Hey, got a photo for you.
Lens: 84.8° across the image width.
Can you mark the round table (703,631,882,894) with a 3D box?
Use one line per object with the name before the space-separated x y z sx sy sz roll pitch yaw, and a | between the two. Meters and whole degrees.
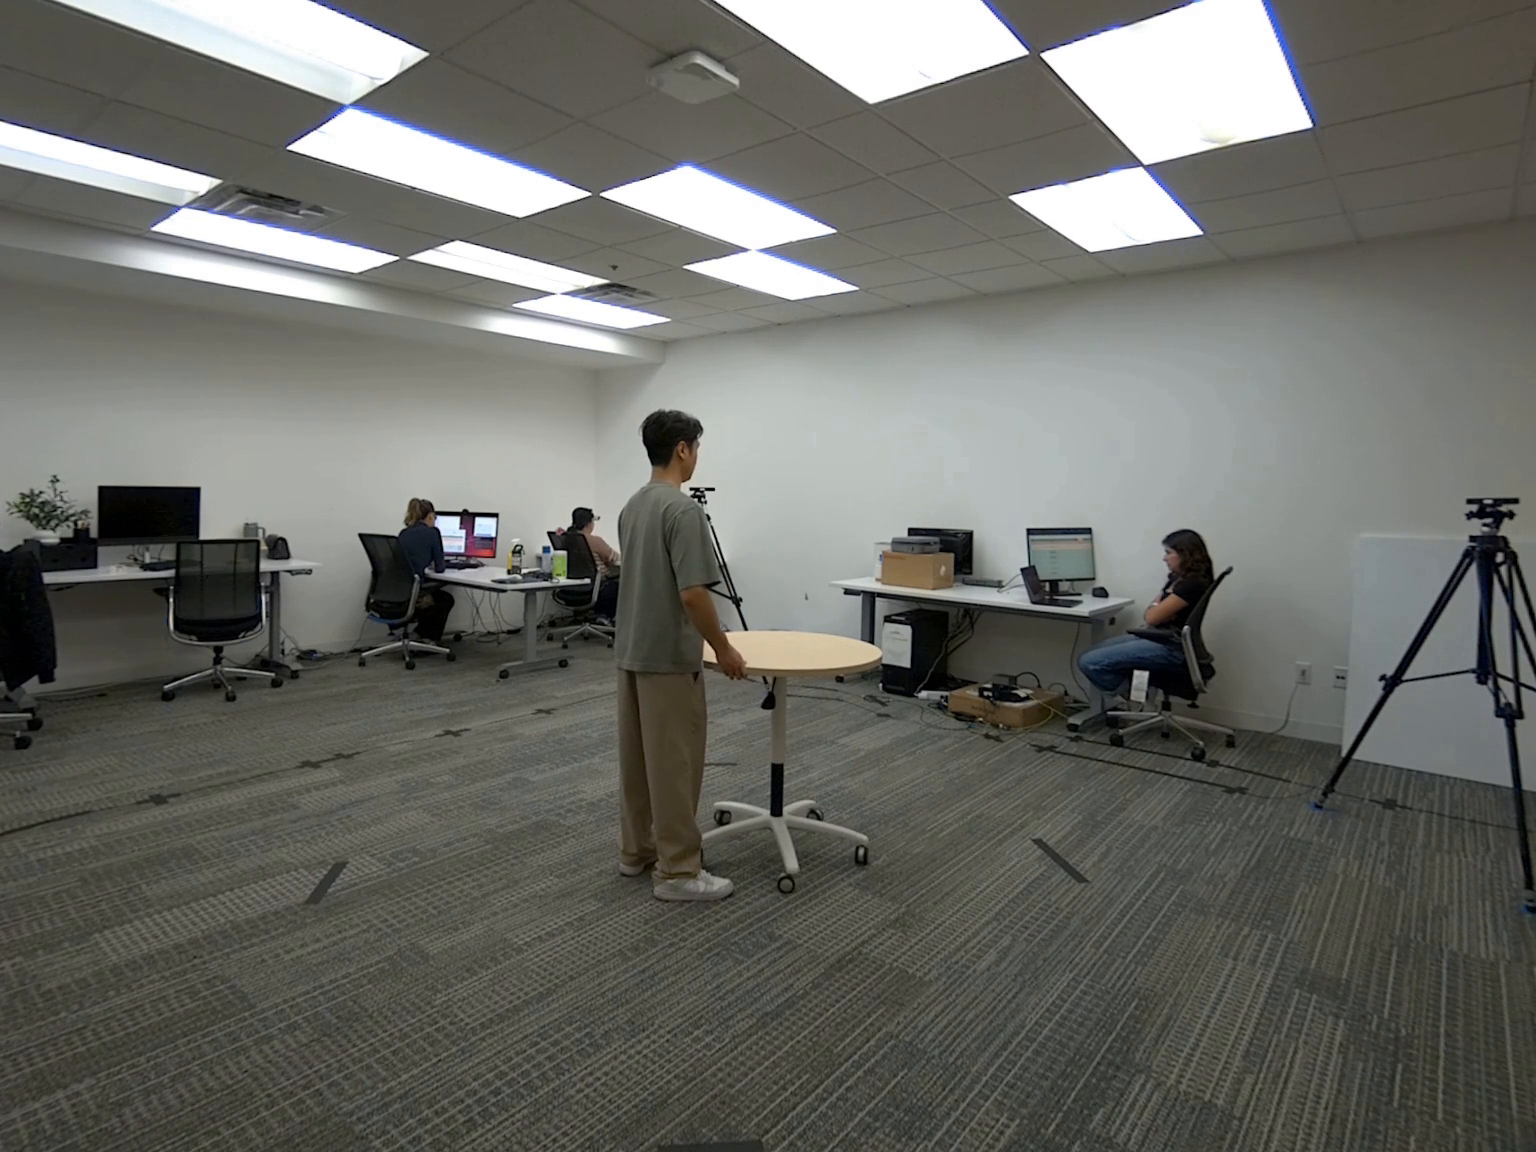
round table | 0.044 0.661 3.269 0.784 0.784 0.789 1 4 -2
